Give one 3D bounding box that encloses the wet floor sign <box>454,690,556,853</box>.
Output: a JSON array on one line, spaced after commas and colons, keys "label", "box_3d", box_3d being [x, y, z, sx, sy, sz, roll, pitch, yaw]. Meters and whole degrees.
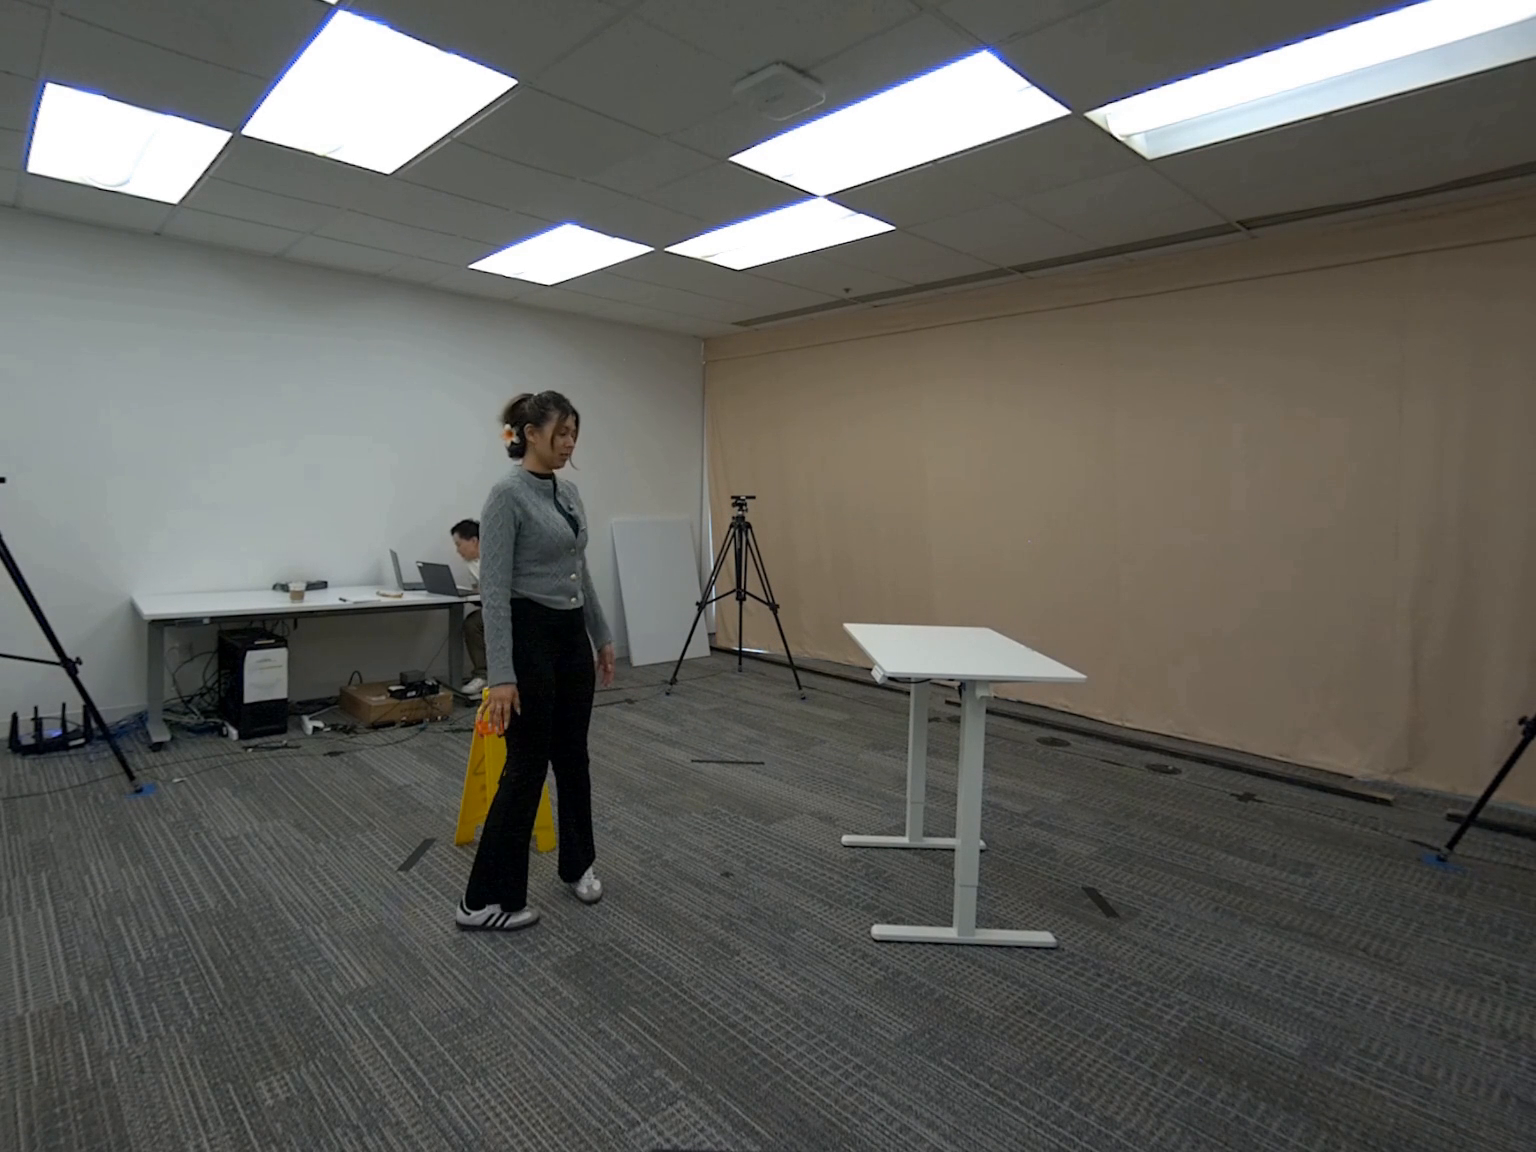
[{"label": "wet floor sign", "box_3d": [-1.034, 0.747, 3.289, 0.297, 0.645, 0.275, 3, 3, 44]}]
